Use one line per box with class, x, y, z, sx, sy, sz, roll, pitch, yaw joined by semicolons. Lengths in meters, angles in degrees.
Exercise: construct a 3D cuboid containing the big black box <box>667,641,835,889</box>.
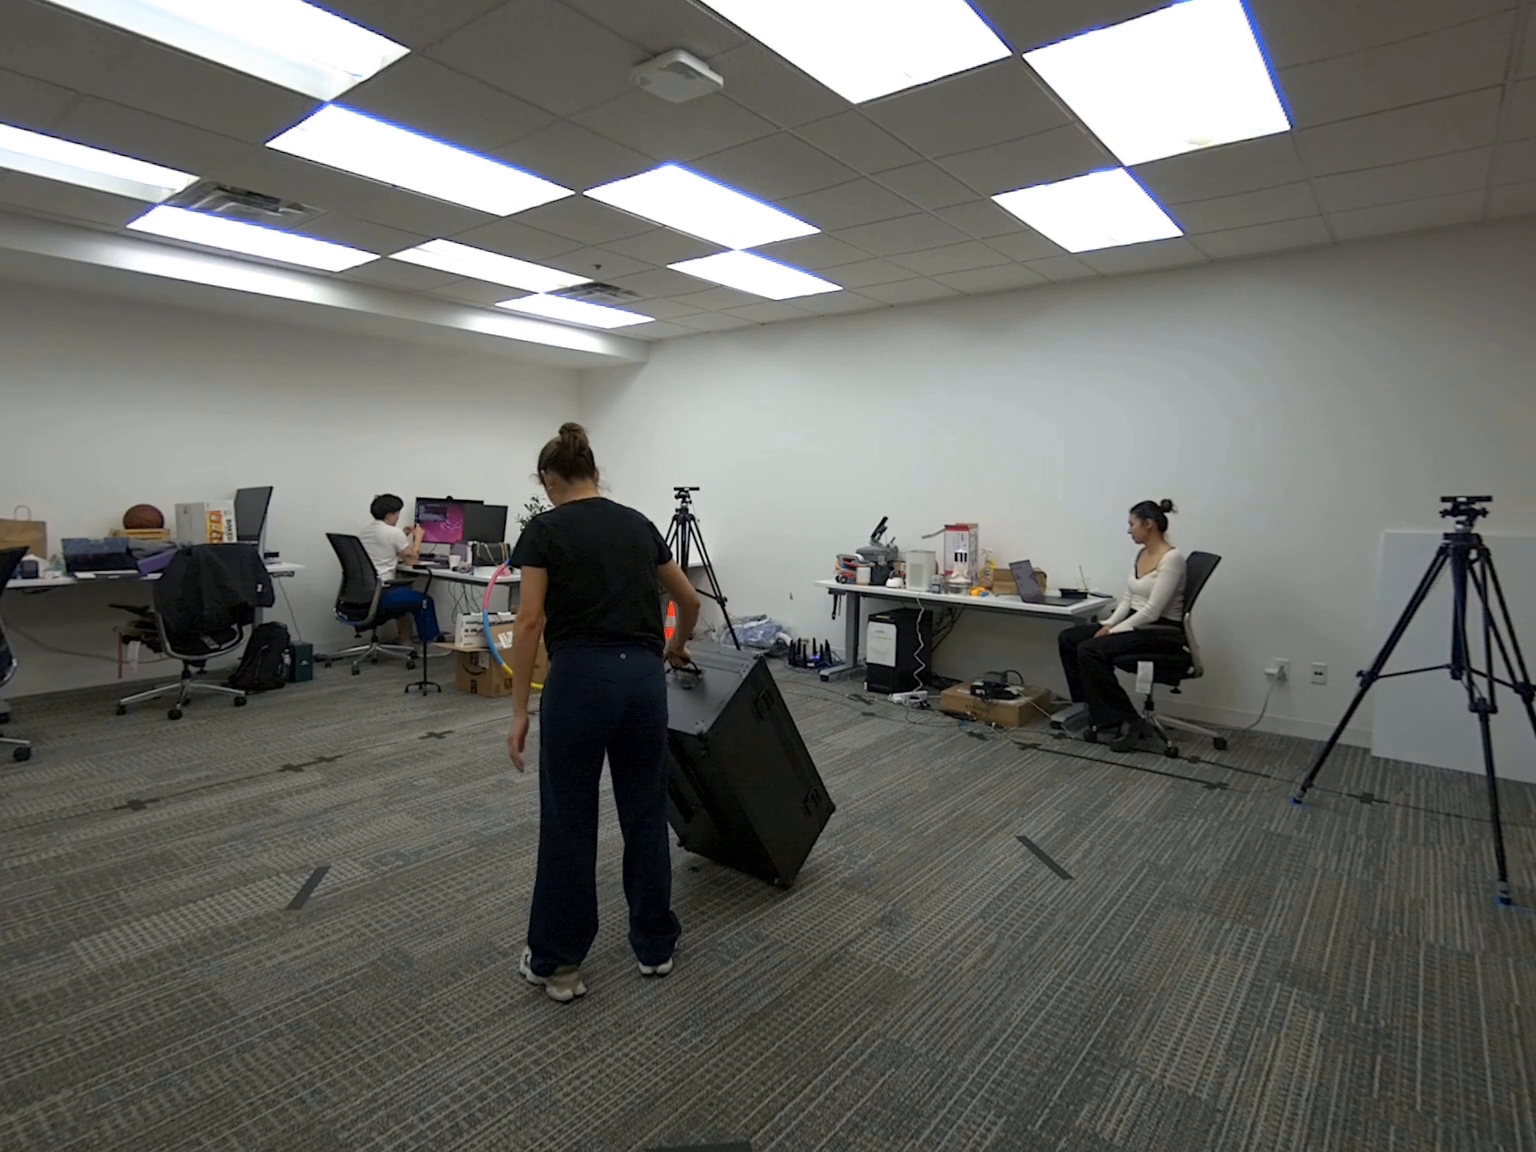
big black box;-0.136;0.660;3.000;0.539;0.833;0.396;4;40;40
